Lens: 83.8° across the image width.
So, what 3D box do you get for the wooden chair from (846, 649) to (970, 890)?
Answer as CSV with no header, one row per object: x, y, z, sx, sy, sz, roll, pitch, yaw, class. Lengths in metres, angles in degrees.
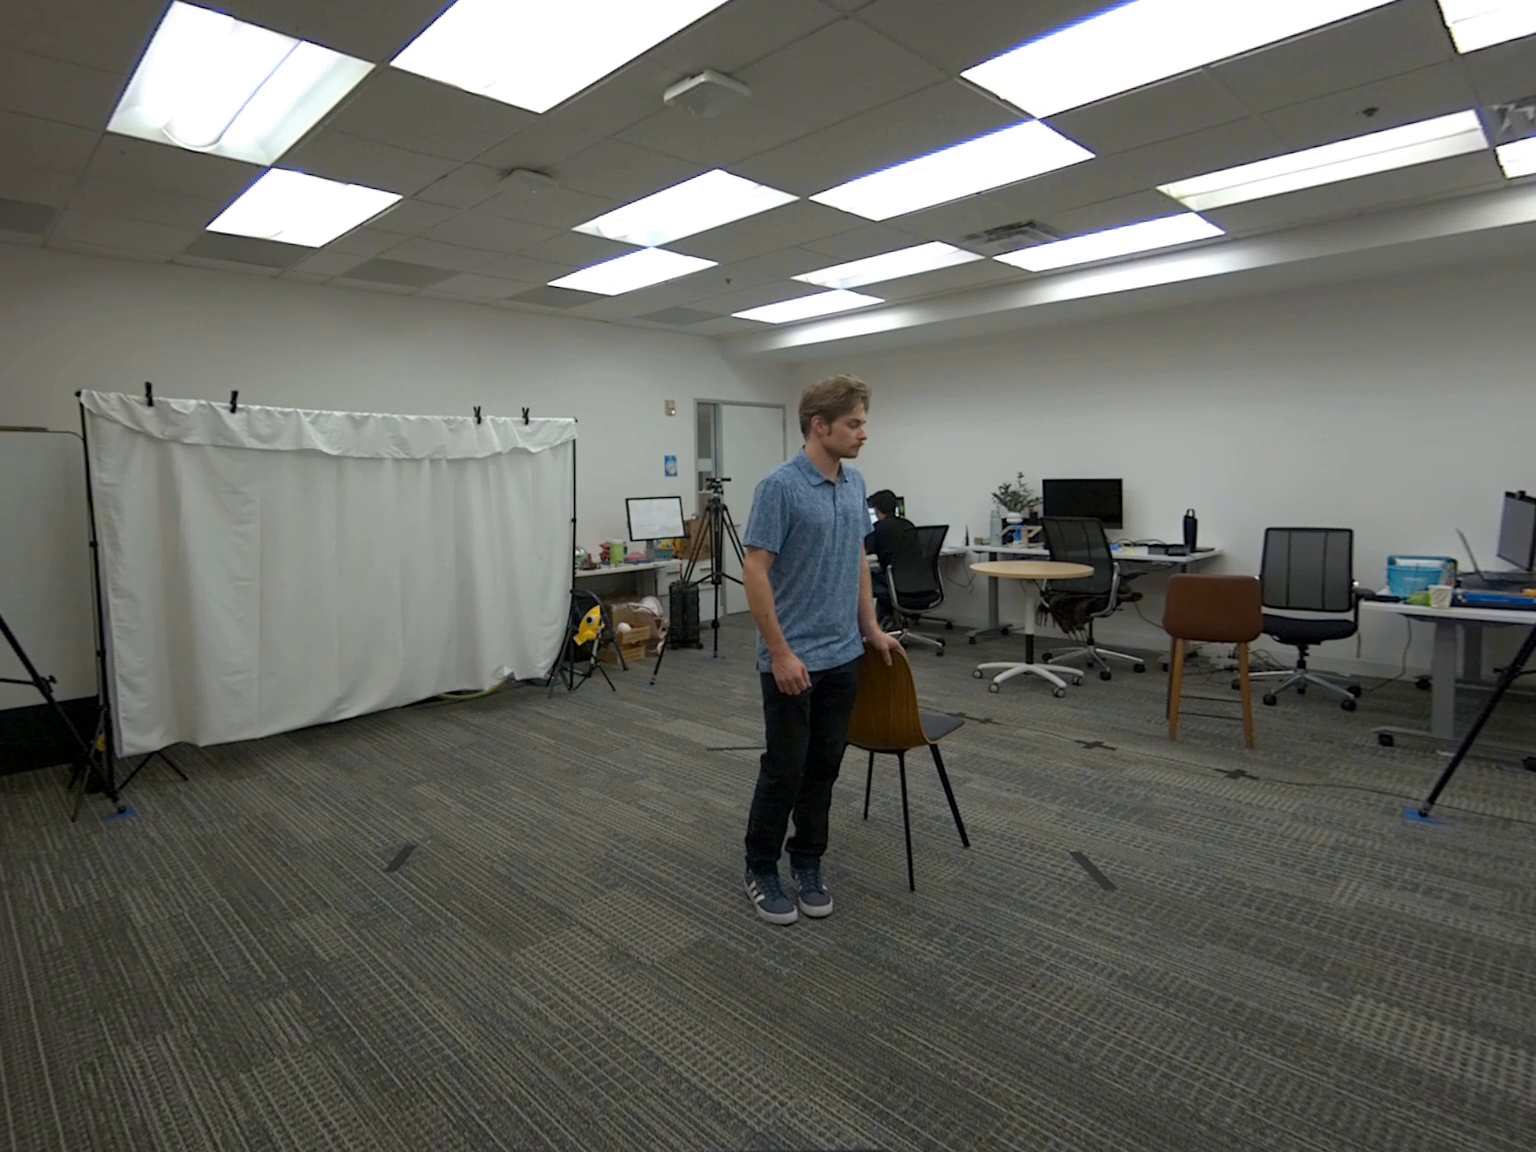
0.441,0.600,3.158,0.492,0.871,0.512,2,10,38,wooden chair
